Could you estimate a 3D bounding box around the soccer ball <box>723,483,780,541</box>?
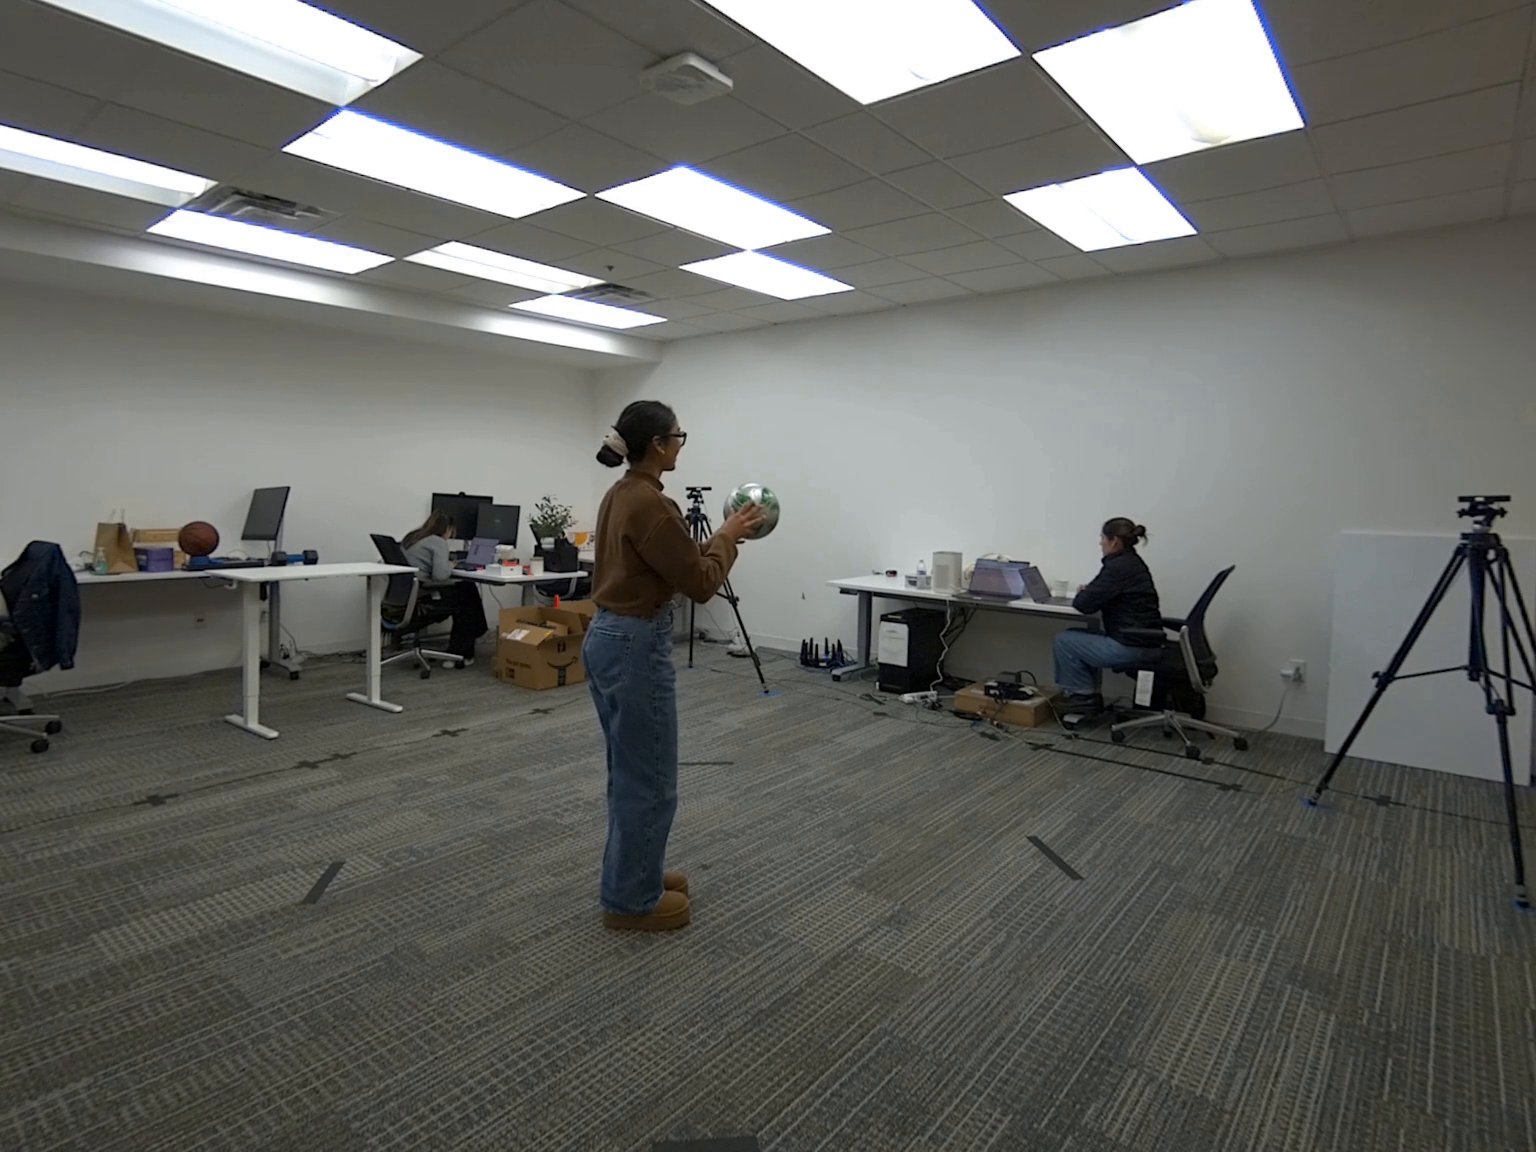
[{"bbox_3d":[-0.068,-0.210,2.811,0.187,0.187,0.188,1,4,-2],"label":"soccer ball"}]
